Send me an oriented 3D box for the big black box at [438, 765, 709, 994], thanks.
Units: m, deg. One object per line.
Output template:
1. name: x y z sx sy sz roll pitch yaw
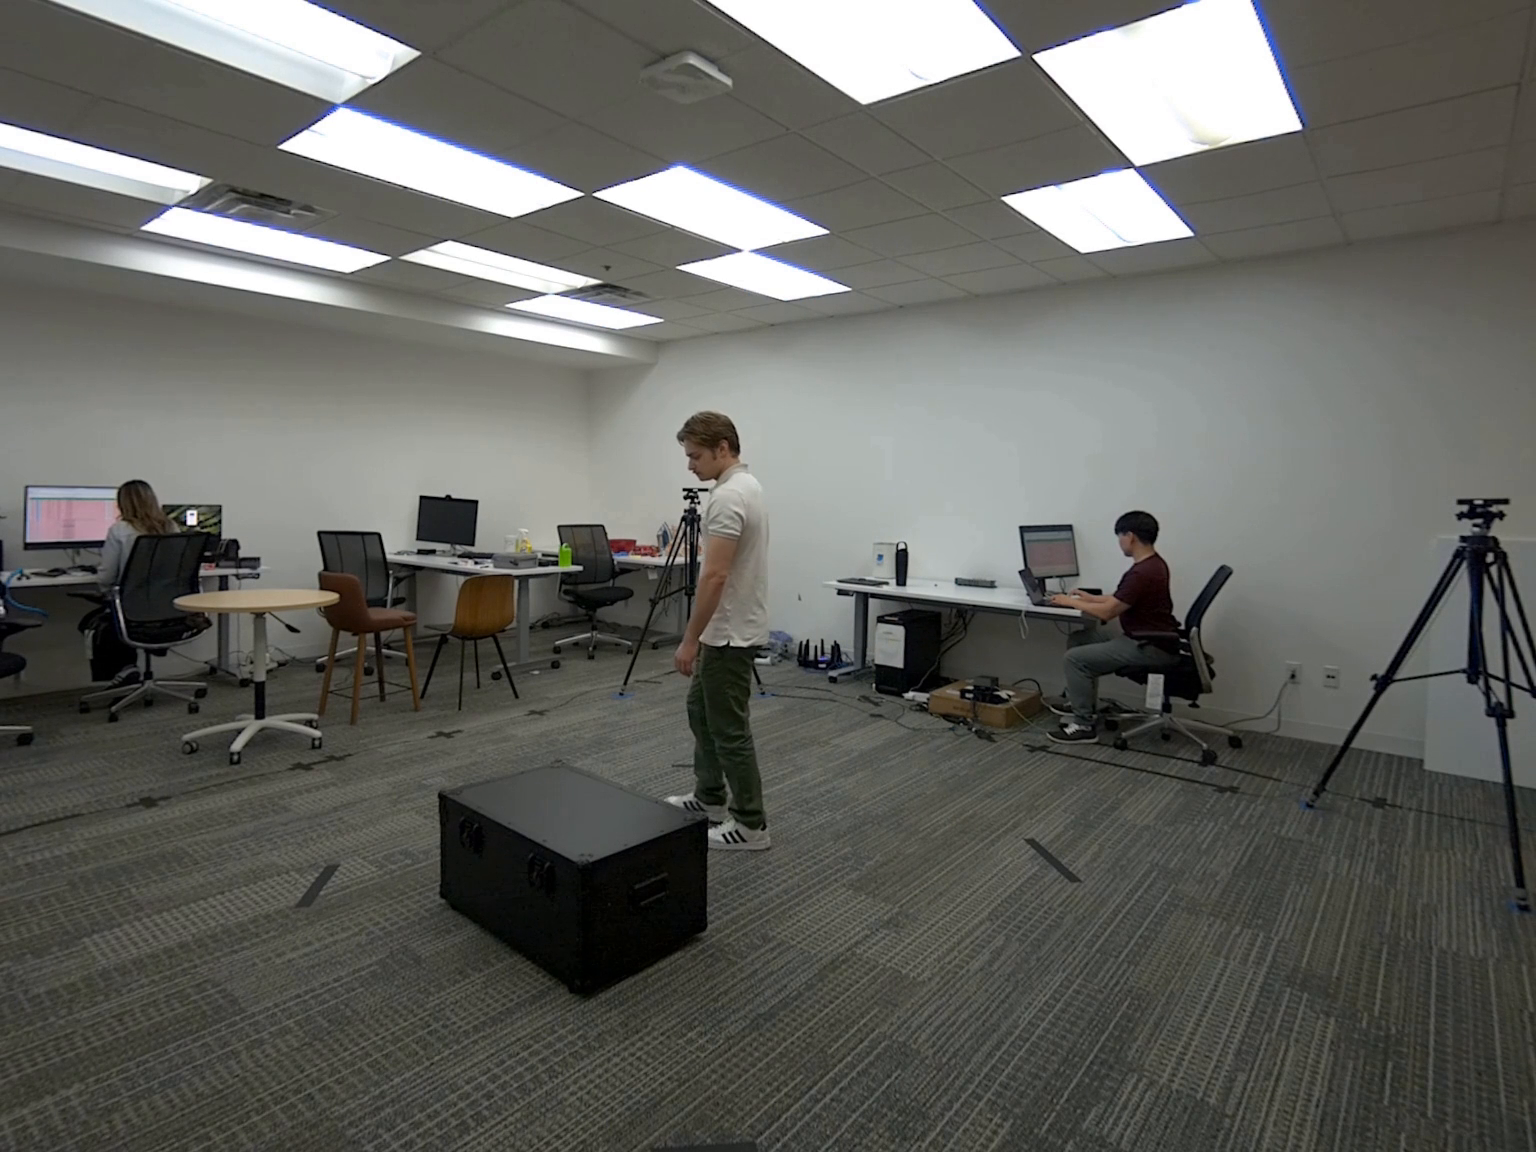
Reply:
1. big black box: -0.669 0.908 2.739 0.891 0.395 0.505 6 7 41
